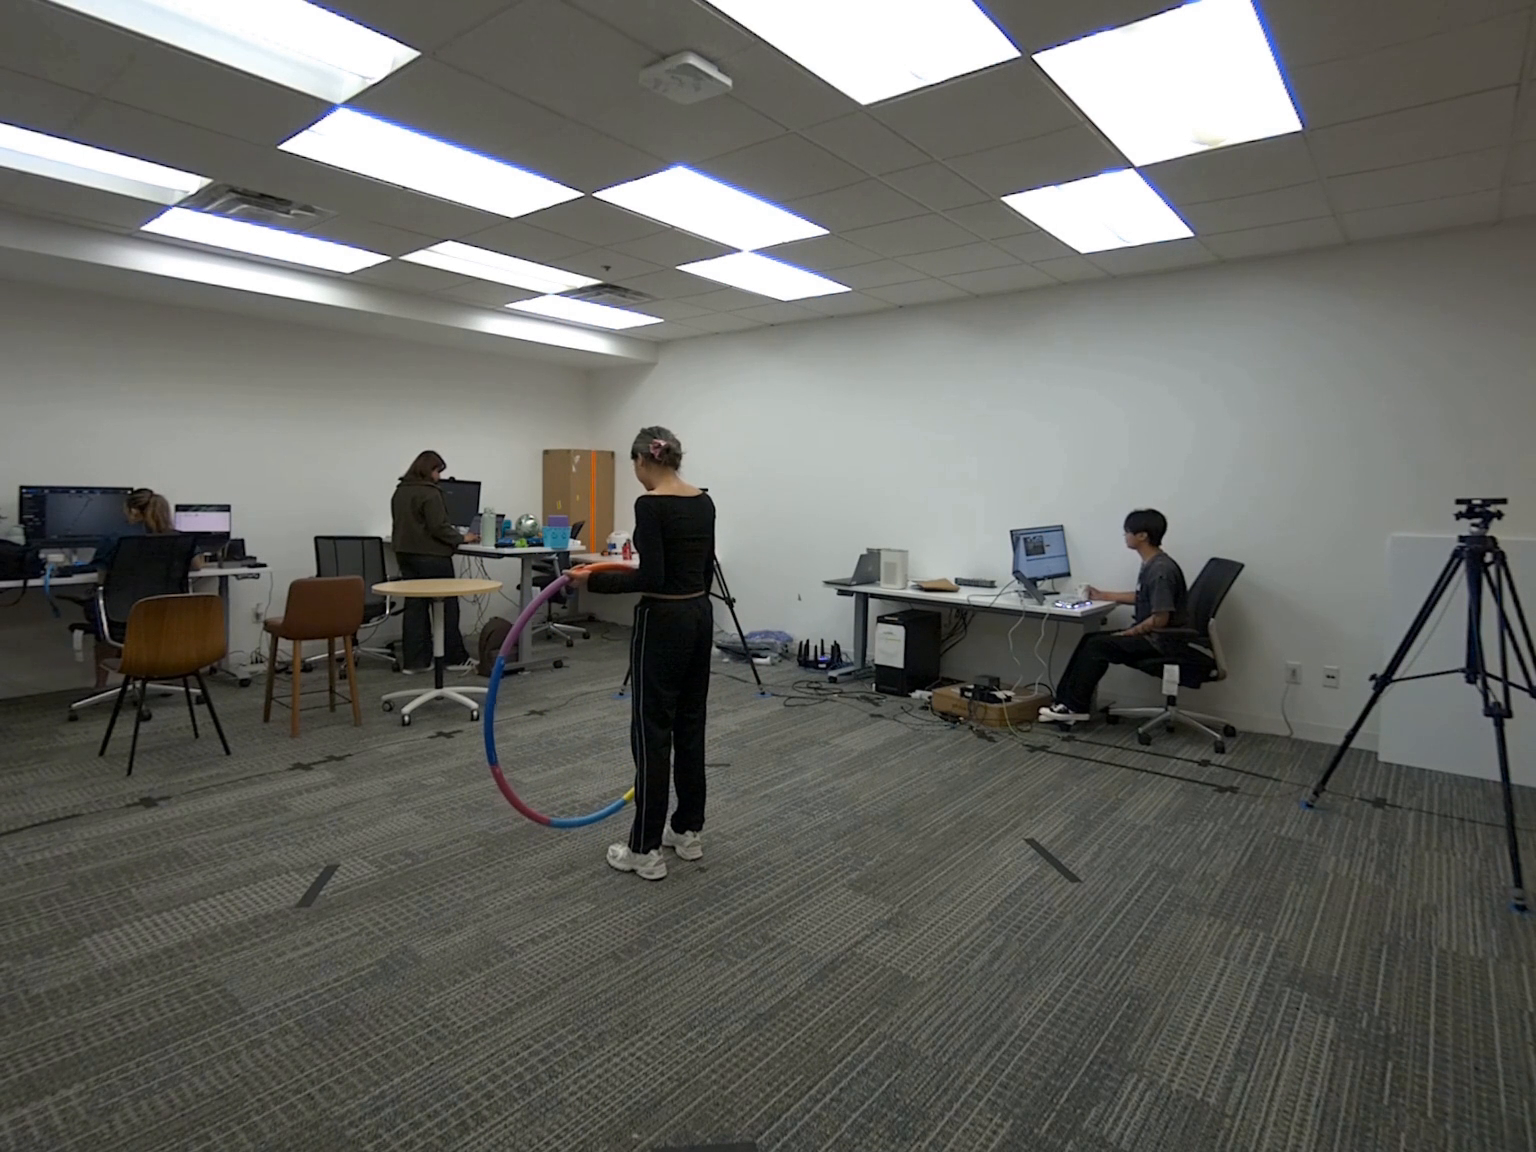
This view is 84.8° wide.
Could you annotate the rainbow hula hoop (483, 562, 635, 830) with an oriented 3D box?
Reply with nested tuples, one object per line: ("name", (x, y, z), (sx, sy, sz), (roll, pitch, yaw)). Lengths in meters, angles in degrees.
("rainbow hula hoop", (-0.652, 0.439, 3.189), (0.037, 0.974, 0.949), (8, 8, 41))
